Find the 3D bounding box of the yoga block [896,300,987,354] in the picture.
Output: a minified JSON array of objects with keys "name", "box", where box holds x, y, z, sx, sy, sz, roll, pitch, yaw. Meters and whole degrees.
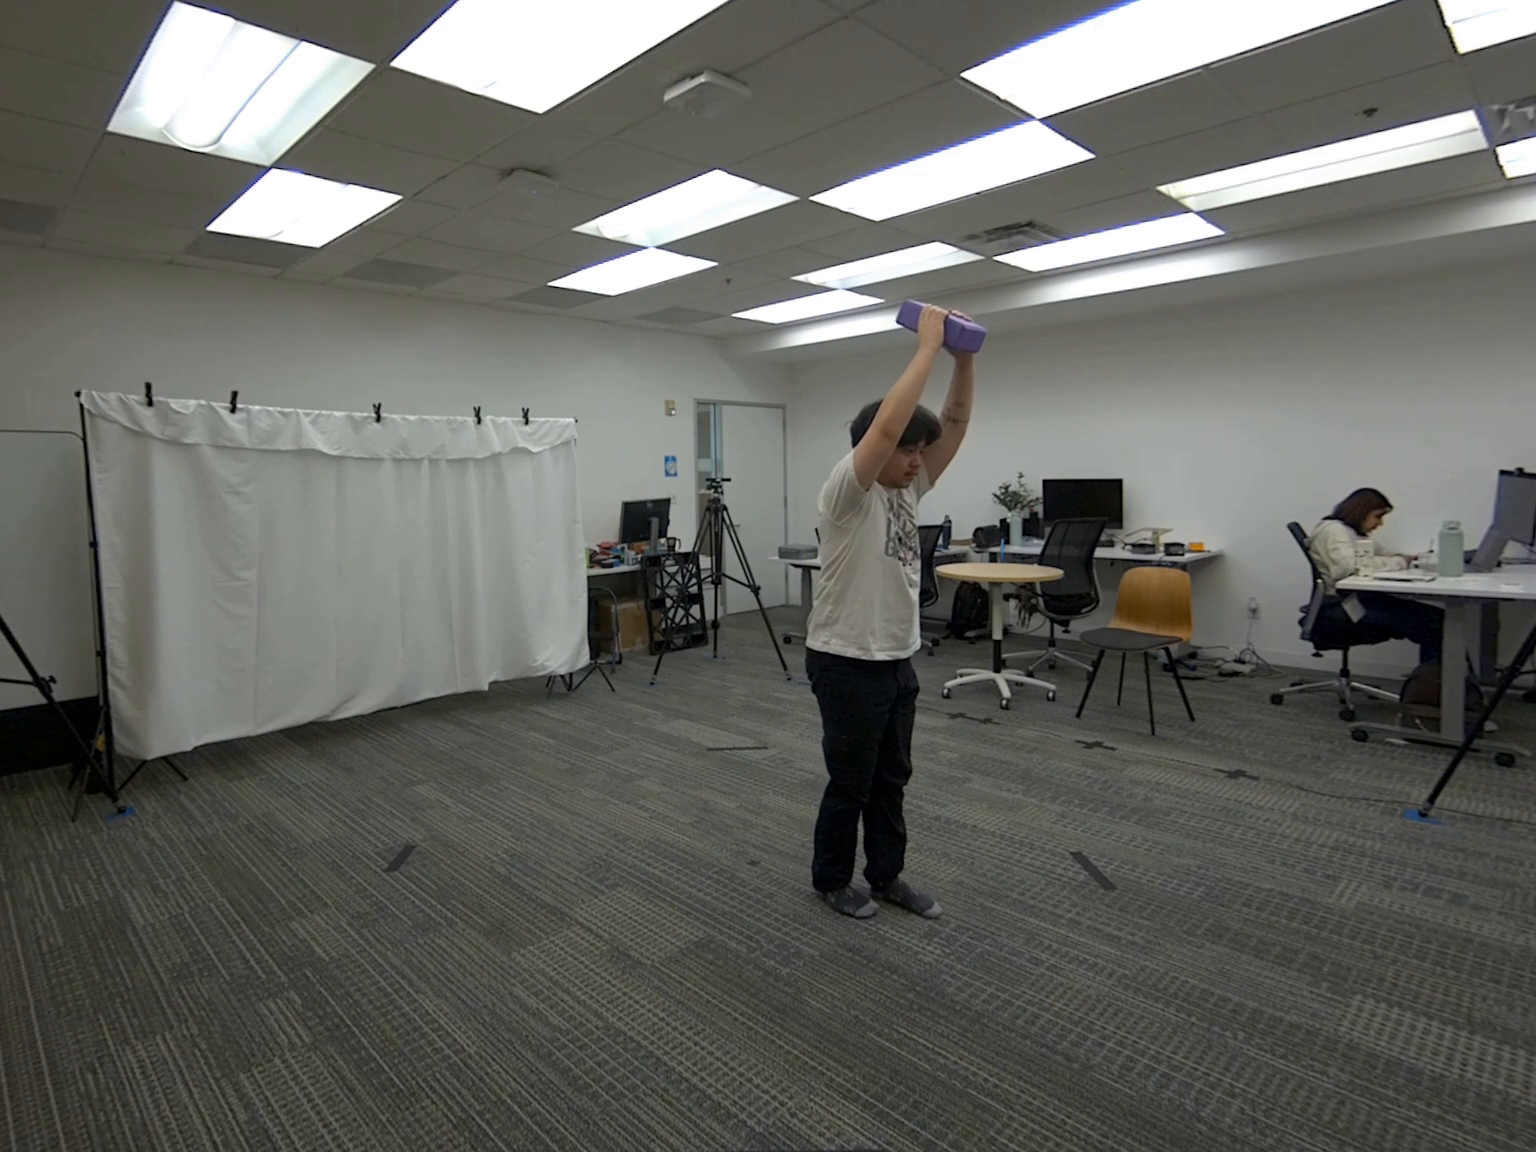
[{"name":"yoga block","box":[0.509,-0.744,2.537,0.145,0.075,0.238,-8,36,-47]}]
